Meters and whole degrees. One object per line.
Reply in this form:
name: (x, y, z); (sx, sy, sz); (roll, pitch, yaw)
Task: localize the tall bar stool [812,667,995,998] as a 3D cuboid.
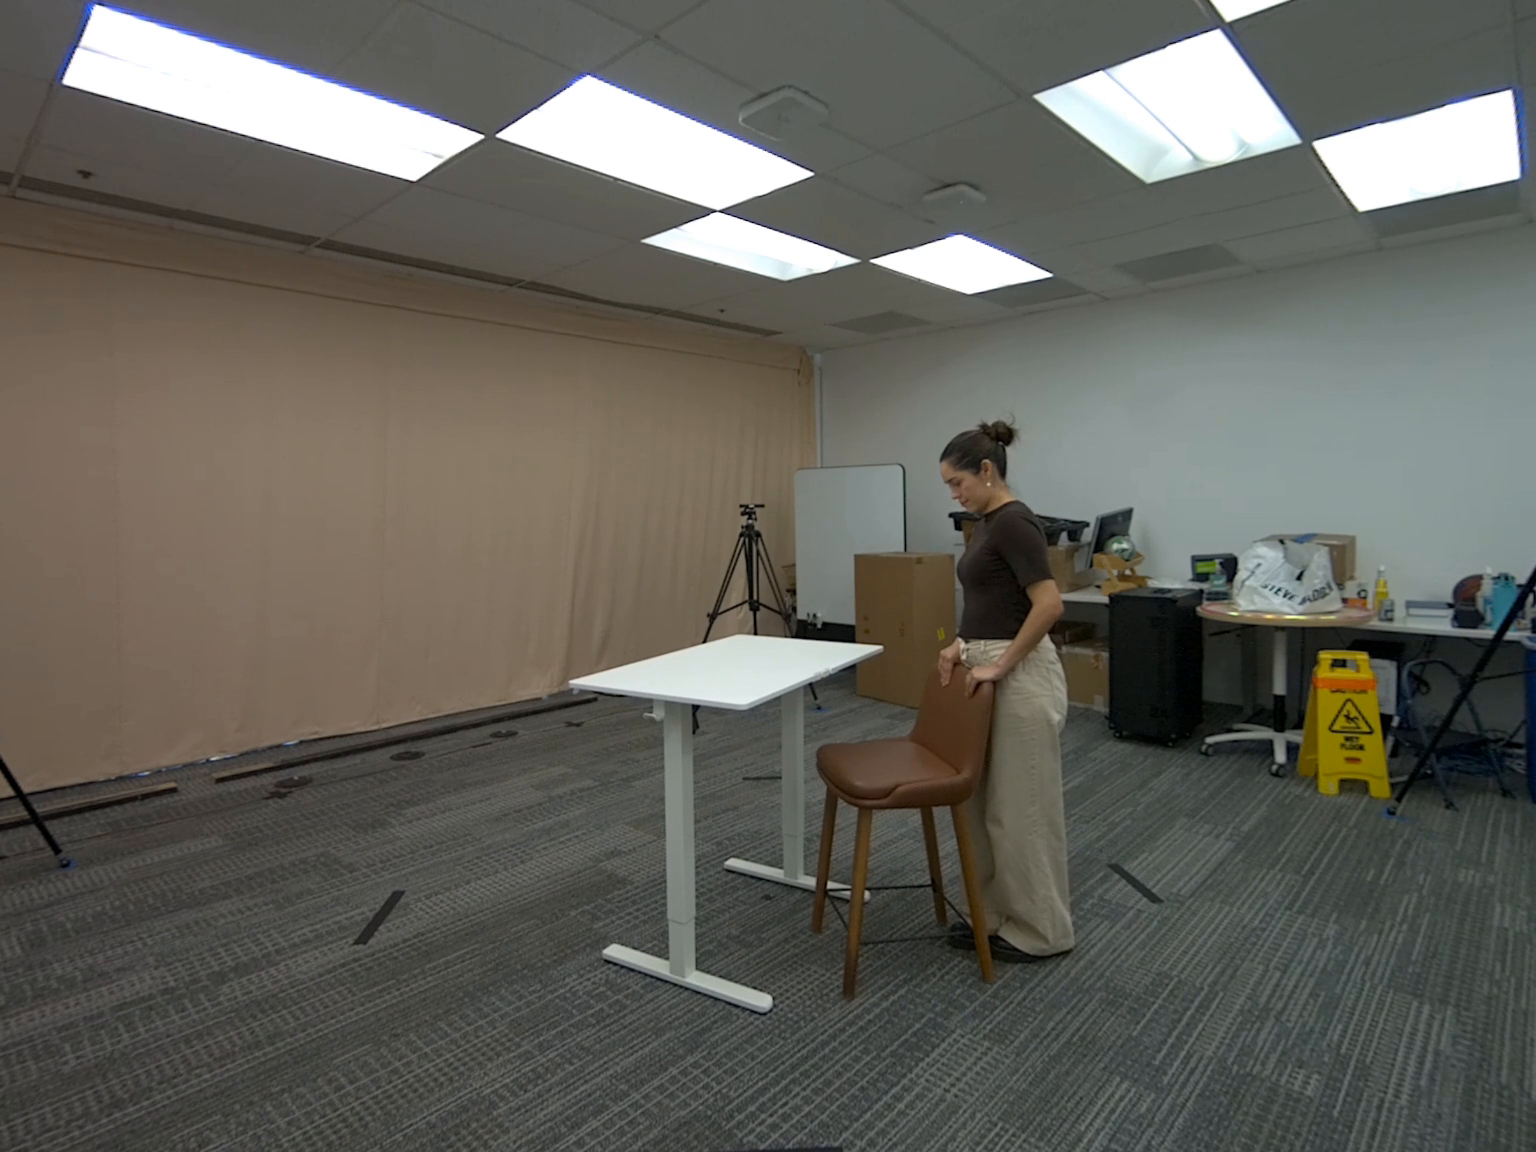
tall bar stool: (0.409, 0.733, 2.563); (0.464, 0.888, 0.461); (1, 3, -8)
